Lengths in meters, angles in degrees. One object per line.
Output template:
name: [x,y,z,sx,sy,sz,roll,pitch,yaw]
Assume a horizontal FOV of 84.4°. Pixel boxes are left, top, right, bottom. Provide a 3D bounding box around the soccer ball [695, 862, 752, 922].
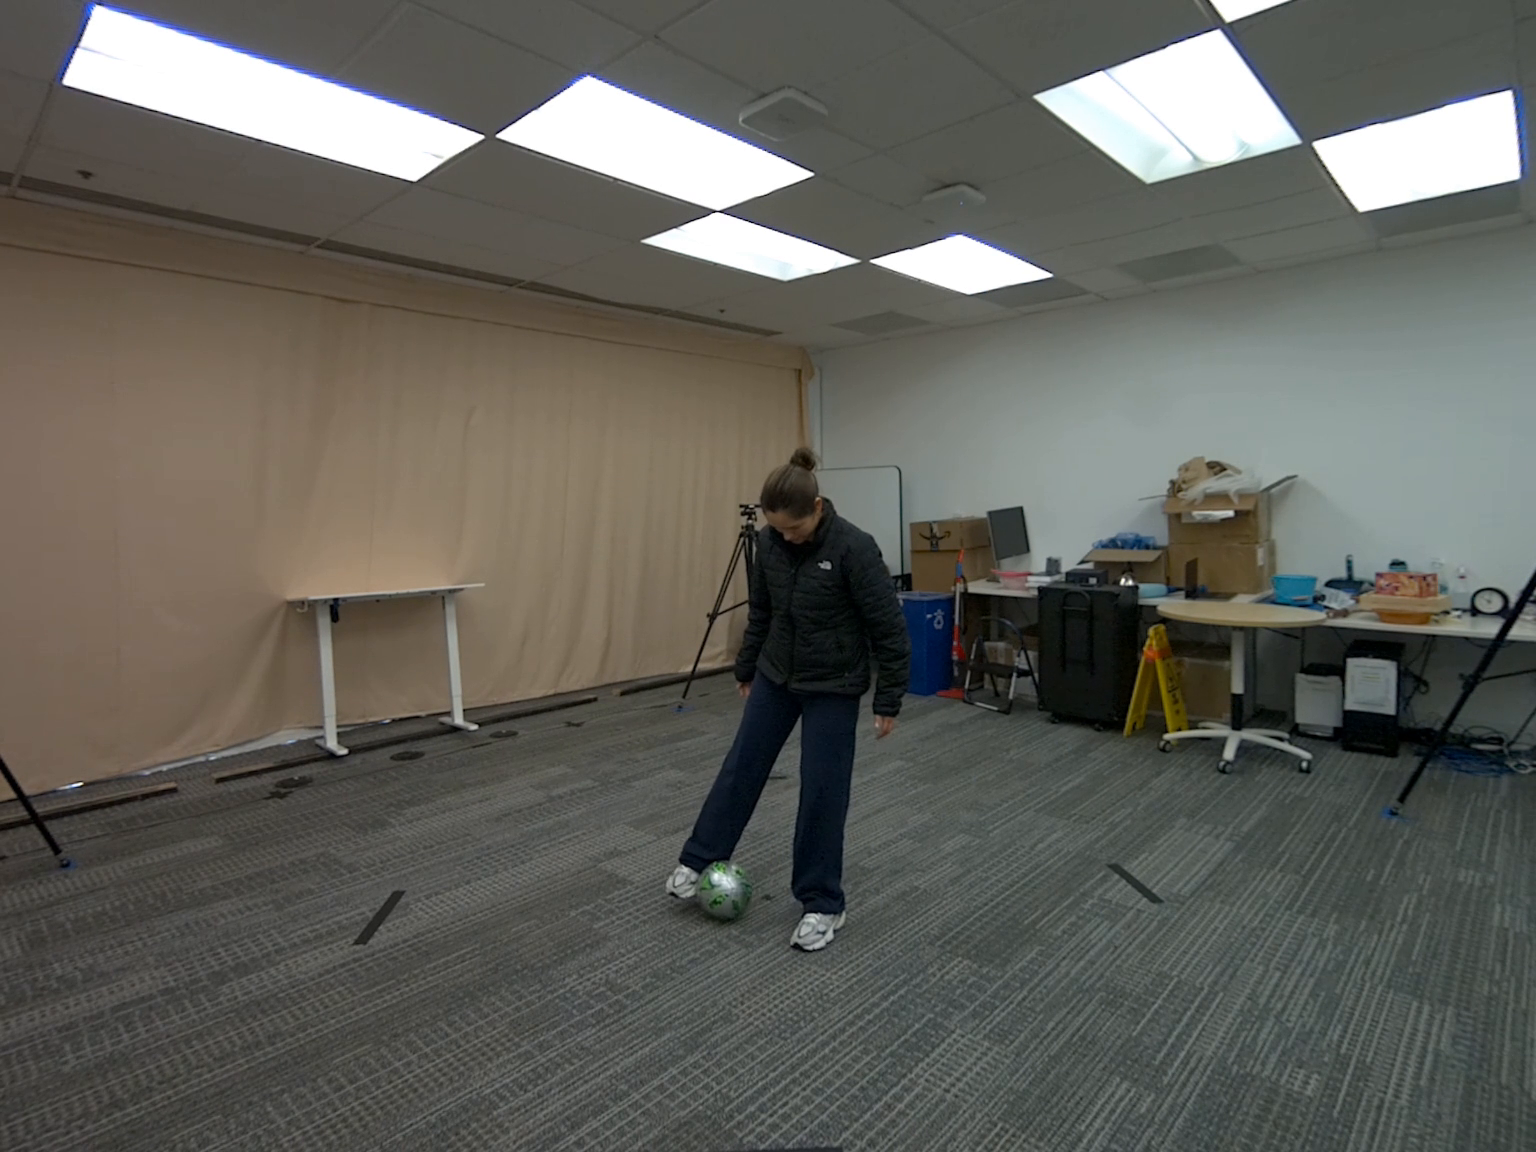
soccer ball: [-0.141,1.063,2.845,0.187,0.187,0.188,-1,4,-2]
